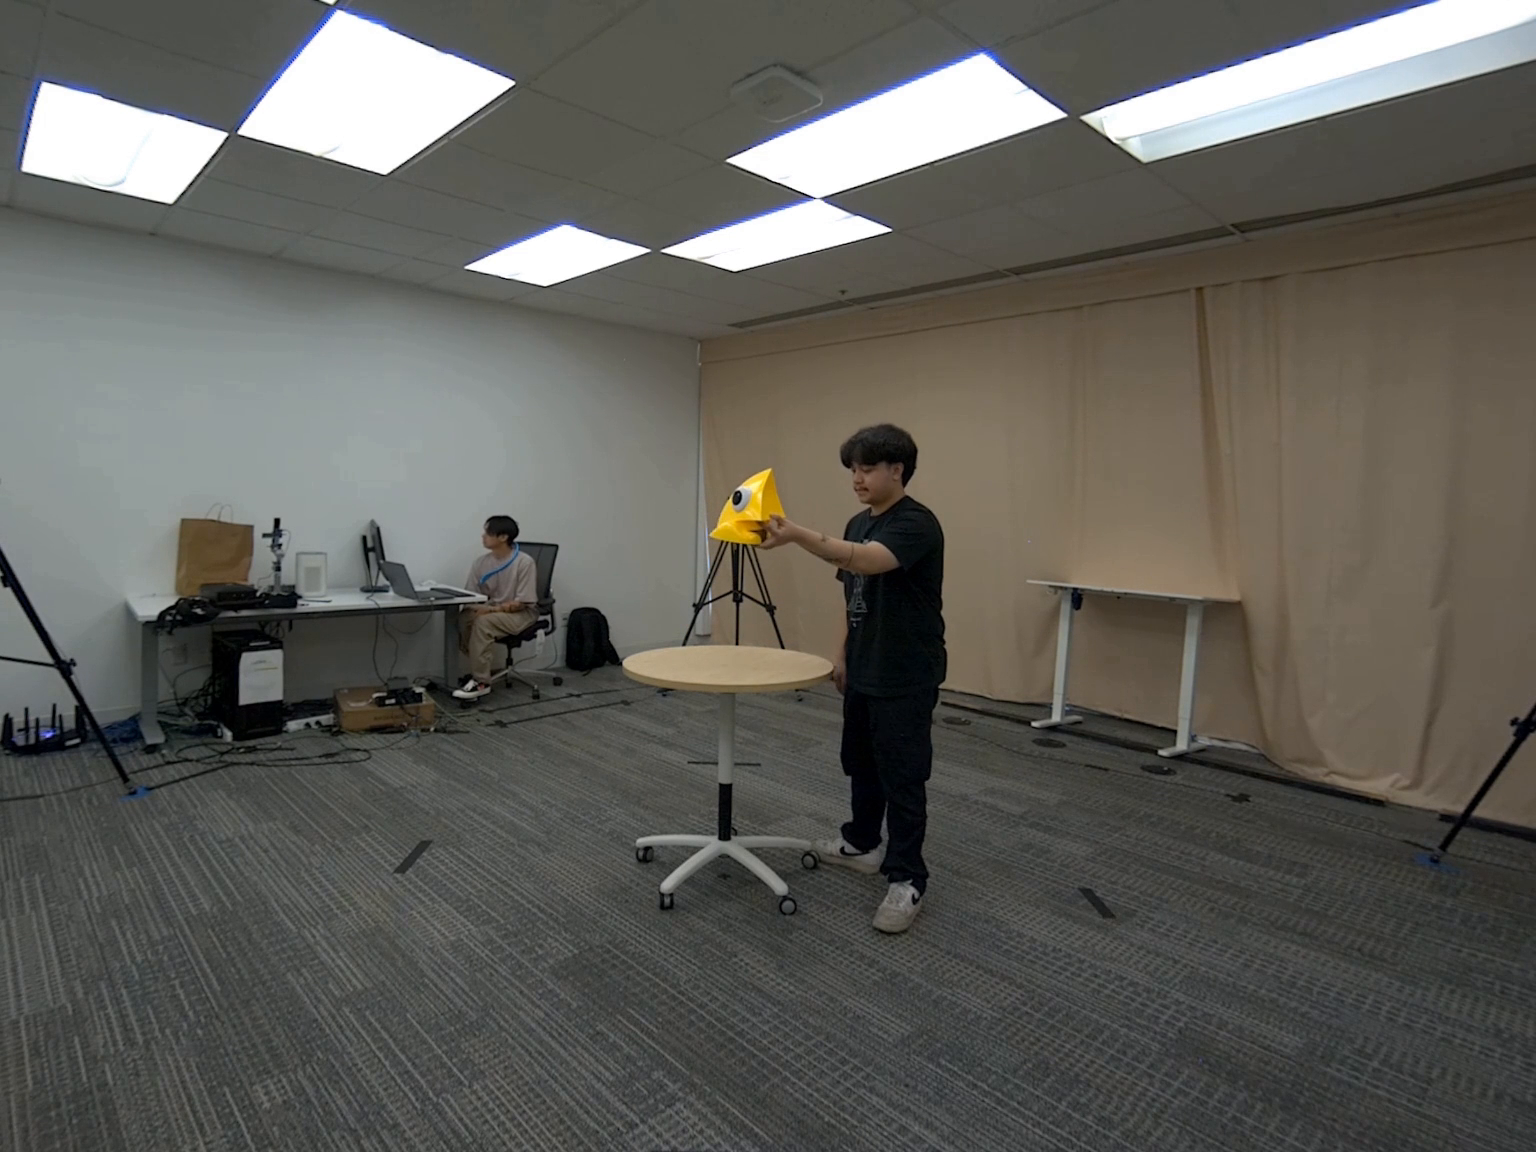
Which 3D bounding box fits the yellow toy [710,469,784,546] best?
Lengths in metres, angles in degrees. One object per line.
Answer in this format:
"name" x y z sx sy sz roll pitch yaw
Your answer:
"yellow toy" -0.063 -0.227 2.607 0.197 0.229 0.202 11 10 21
